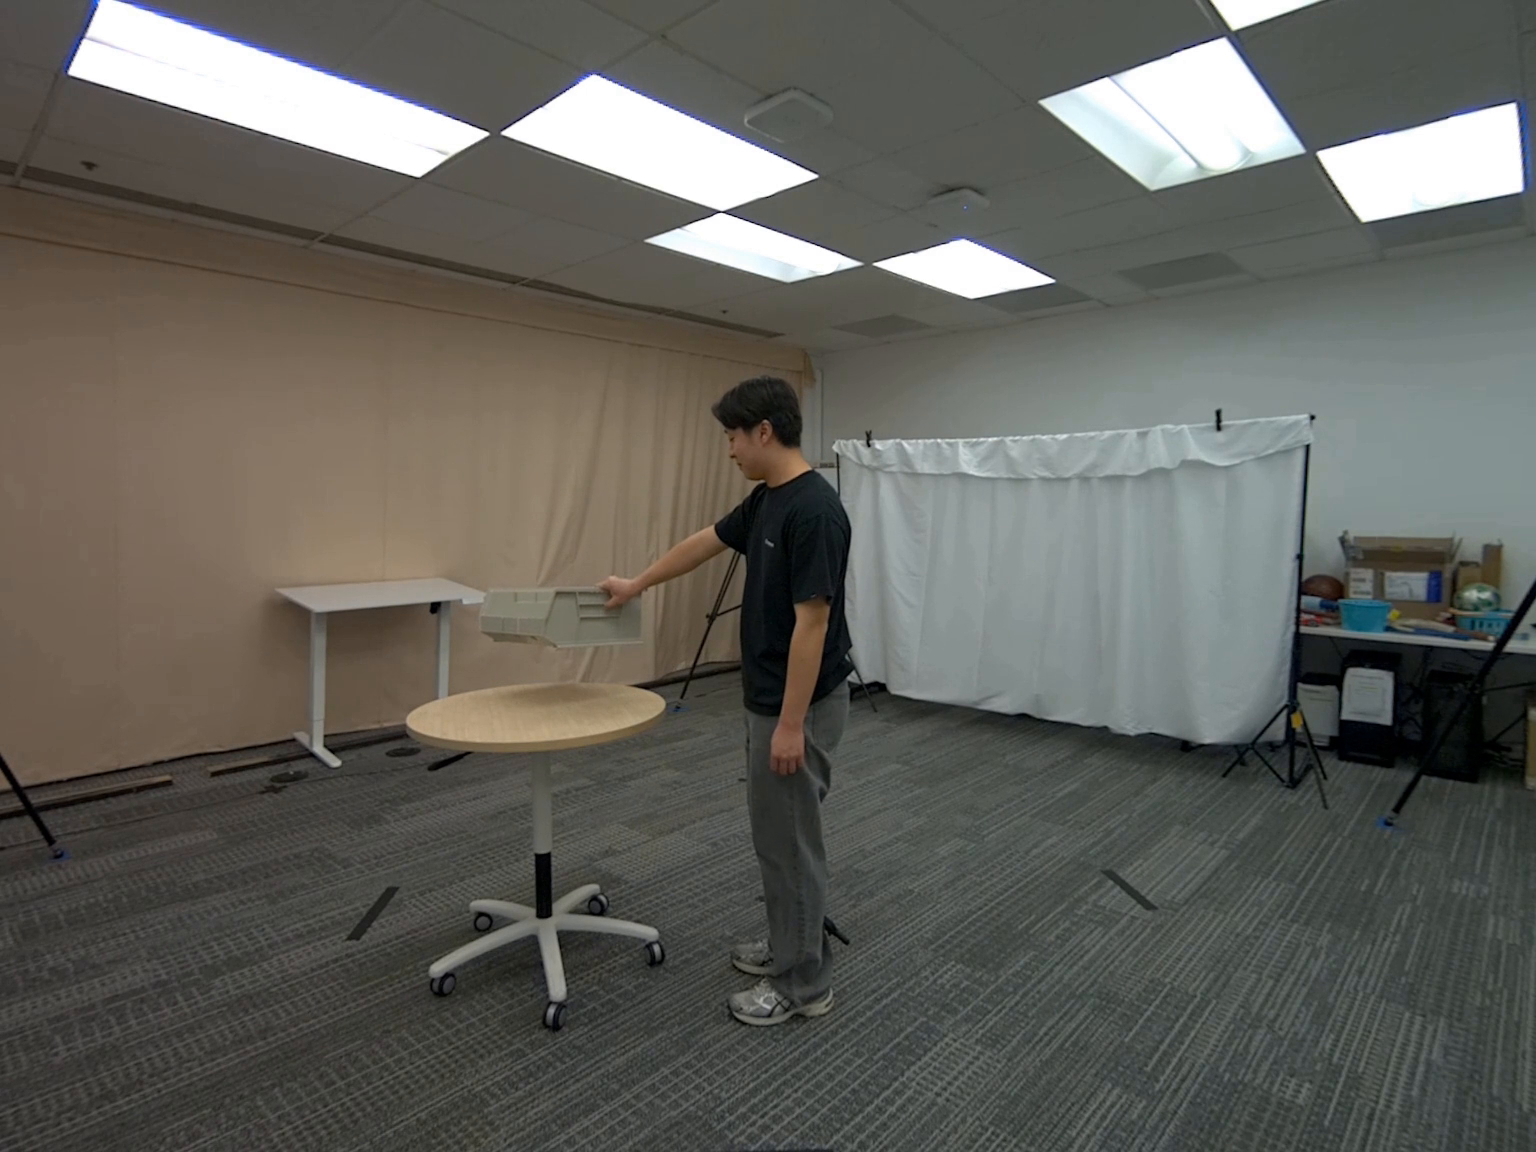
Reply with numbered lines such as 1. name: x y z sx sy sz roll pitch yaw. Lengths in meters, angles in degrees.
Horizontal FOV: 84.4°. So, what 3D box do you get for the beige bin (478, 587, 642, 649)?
1. beige bin: -0.662 0.129 2.724 0.365 0.189 0.435 2 -2 -42
